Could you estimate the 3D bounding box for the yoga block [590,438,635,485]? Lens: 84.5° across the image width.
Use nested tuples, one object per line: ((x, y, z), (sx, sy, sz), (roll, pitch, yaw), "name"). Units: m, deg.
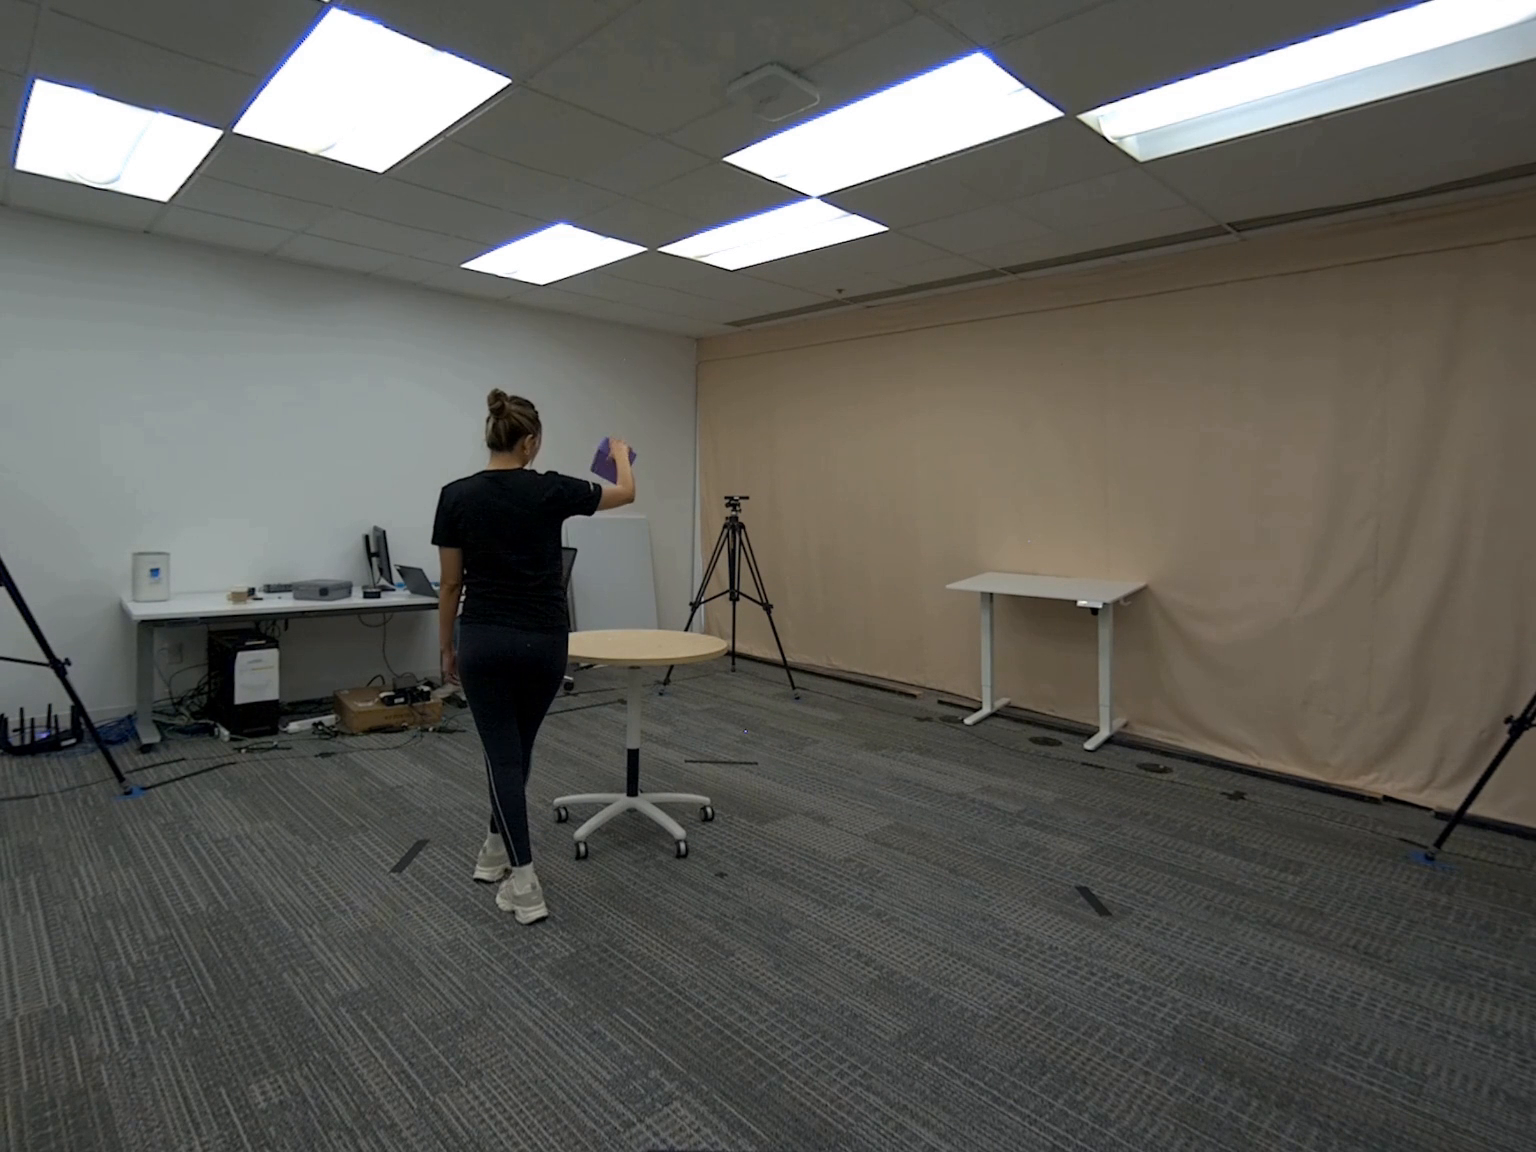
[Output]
((-0.636, -0.460, 3.423), (0.148, 0.077, 0.229), (28, -20, -6), "yoga block")
